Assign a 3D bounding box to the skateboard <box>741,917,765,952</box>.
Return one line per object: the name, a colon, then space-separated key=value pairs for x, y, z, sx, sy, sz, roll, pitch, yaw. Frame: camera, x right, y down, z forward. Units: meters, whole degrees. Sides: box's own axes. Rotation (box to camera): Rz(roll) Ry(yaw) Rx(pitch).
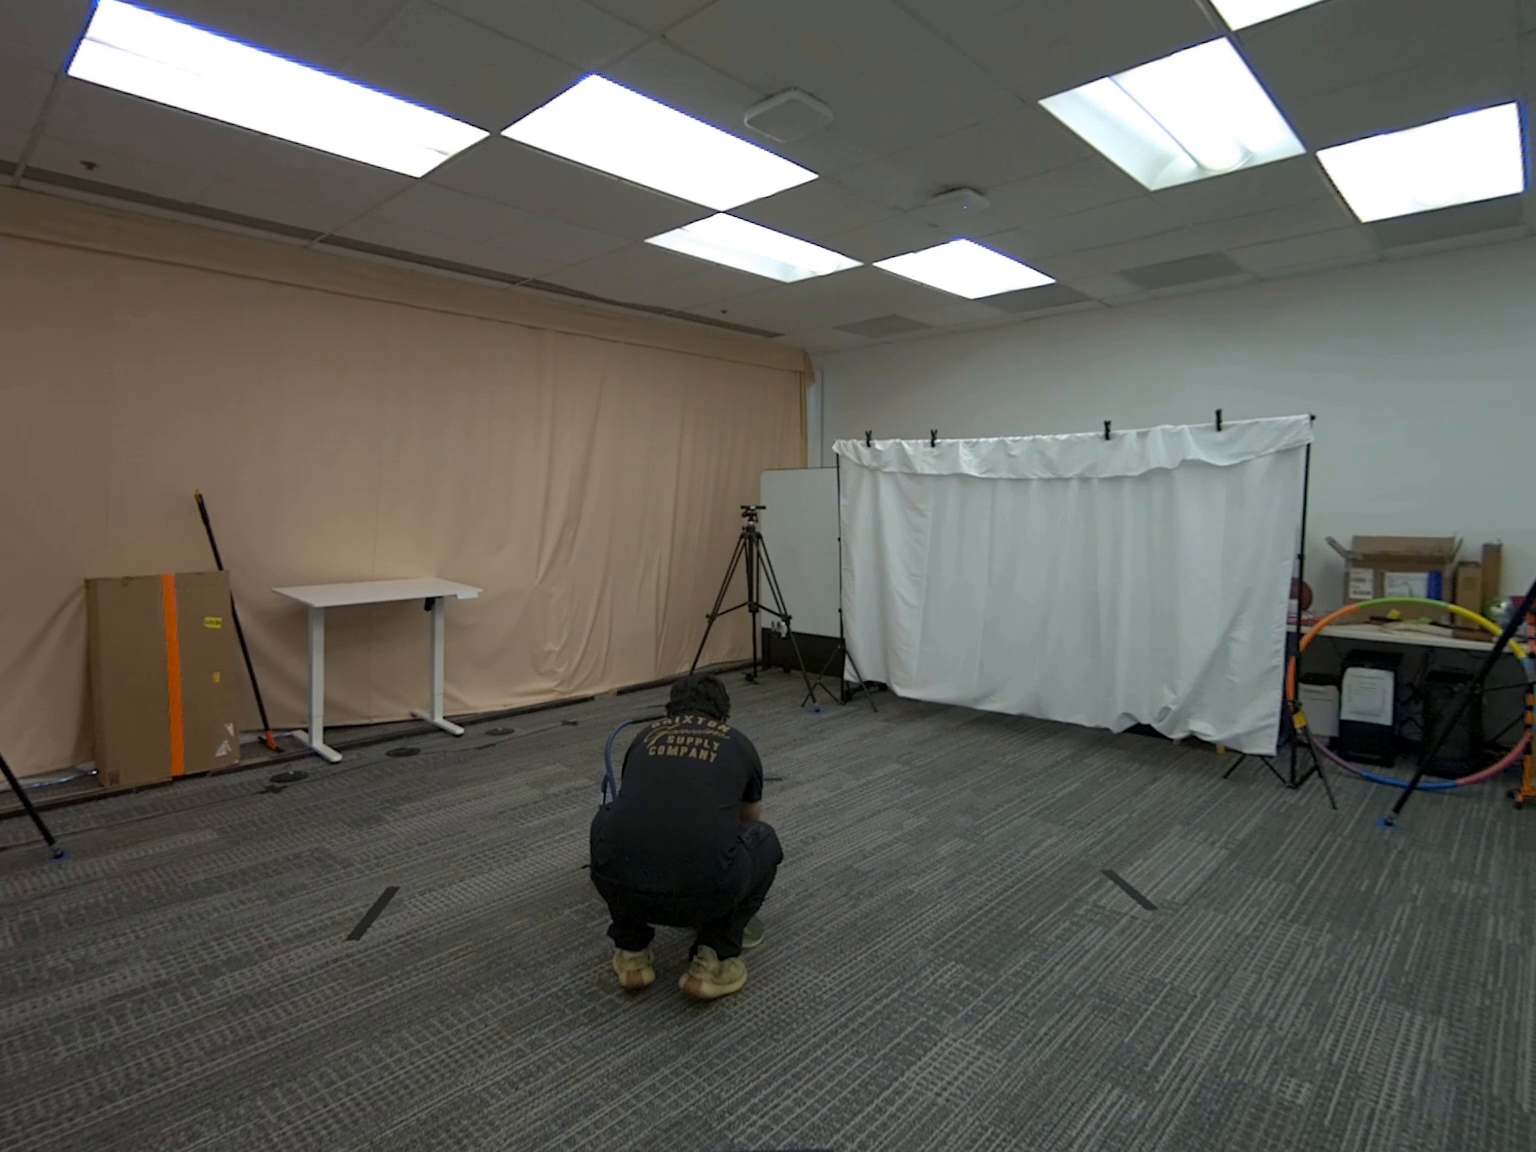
skateboard: x=-0.295 y=1.086 z=2.964 sx=0.187 sy=0.110 sz=0.812 roll=5 pitch=3 yaw=-39
